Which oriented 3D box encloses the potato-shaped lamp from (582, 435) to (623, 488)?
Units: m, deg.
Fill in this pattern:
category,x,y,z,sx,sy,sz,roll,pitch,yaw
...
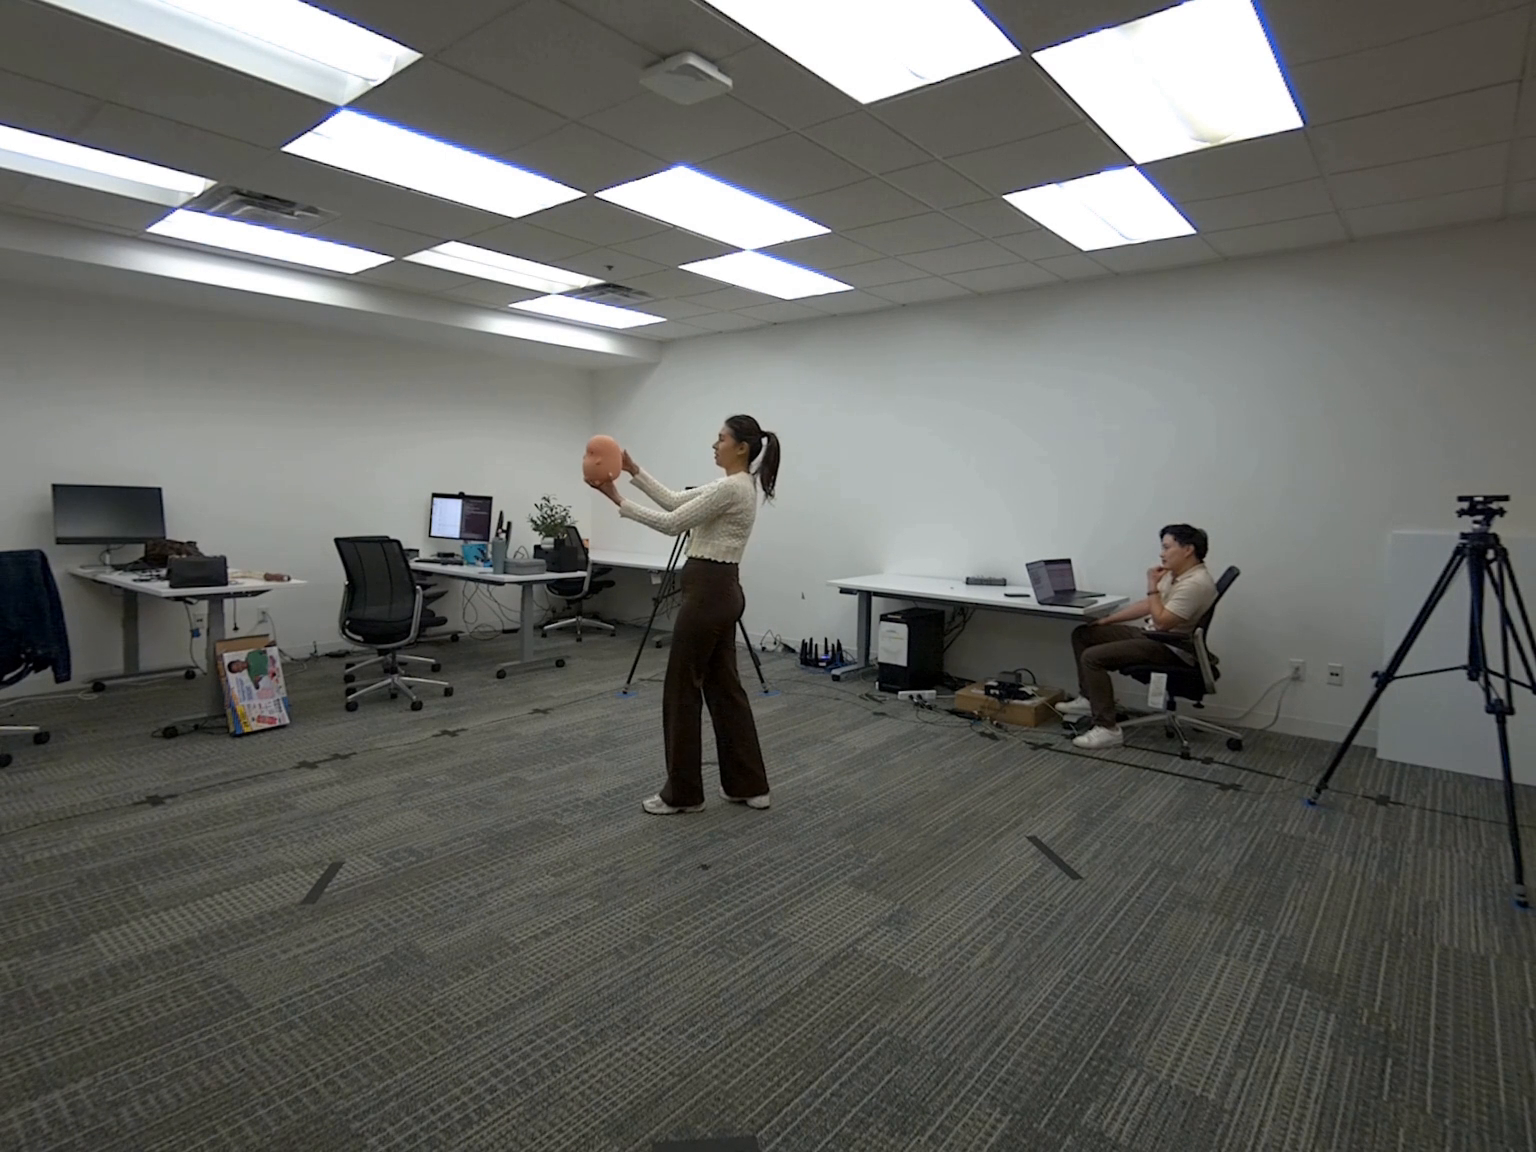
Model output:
category,x,y,z,sx,sy,sz,roll,pitch,yaw
potato-shaped lamp,-0.717,-0.513,3.652,0.170,0.197,0.167,16,7,25
